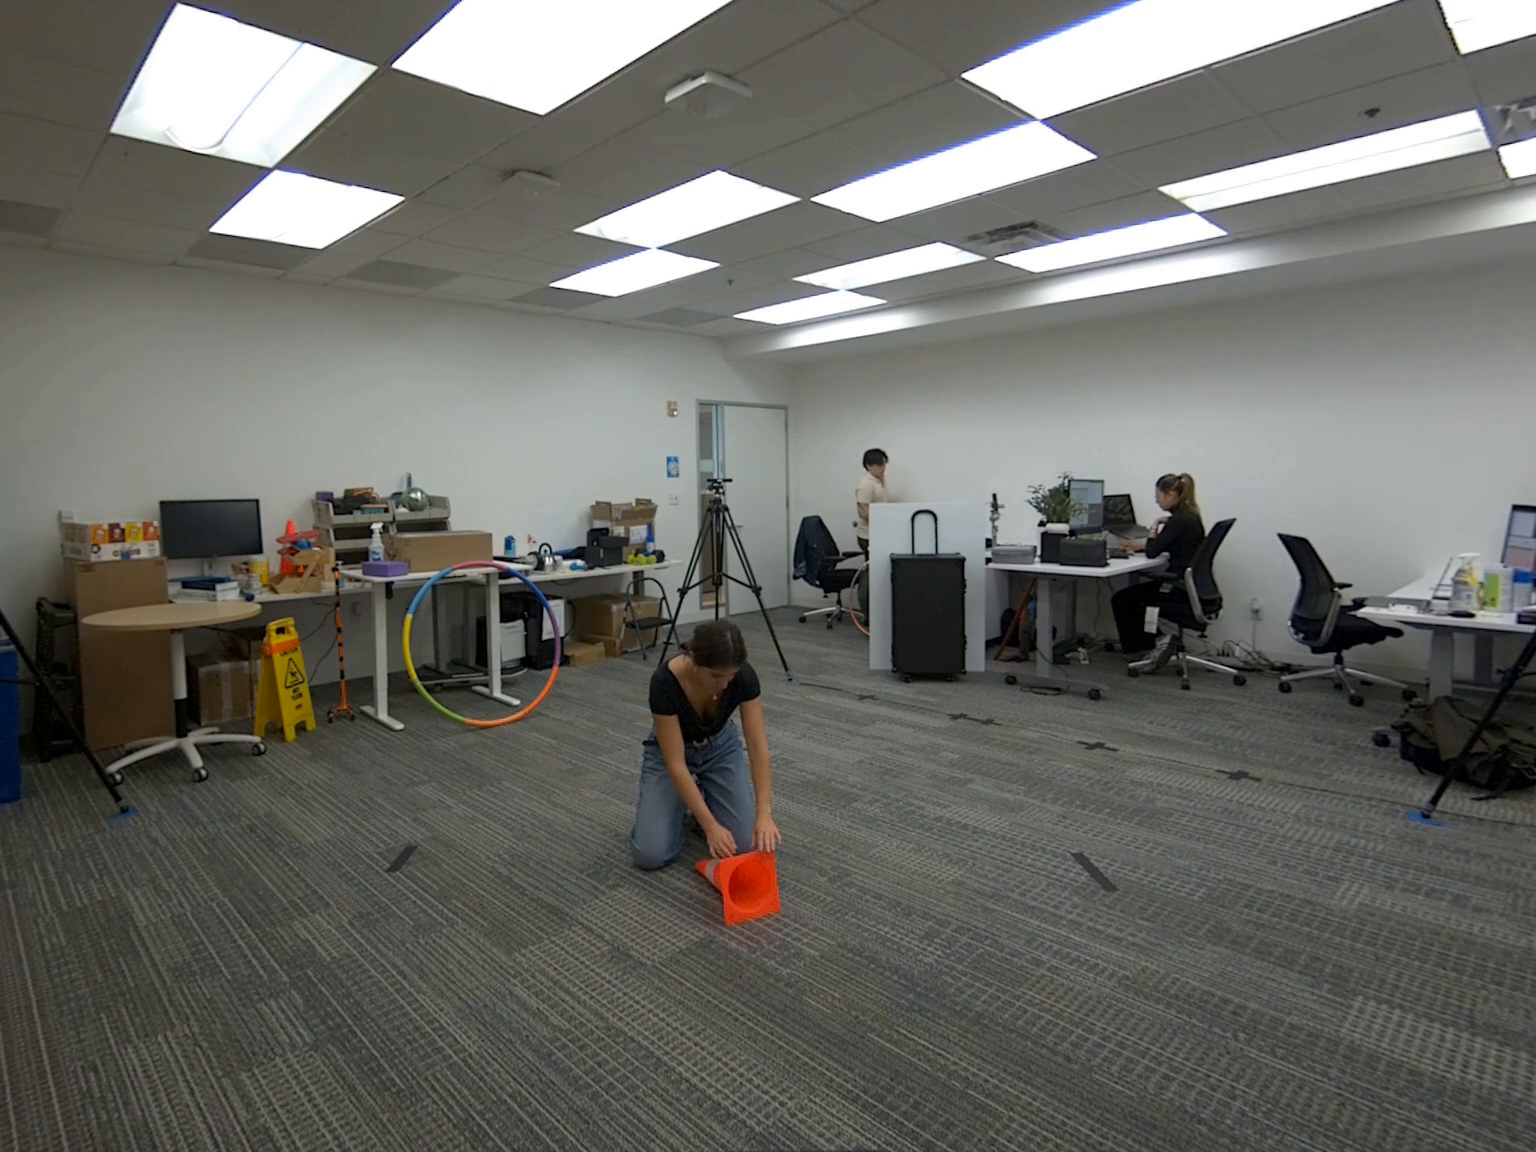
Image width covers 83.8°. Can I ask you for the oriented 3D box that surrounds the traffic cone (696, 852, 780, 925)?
[{"bbox_3d":[-0.151,1.025,2.903,0.200,0.205,0.389,-3,-7,-29],"label":"traffic cone"}]
